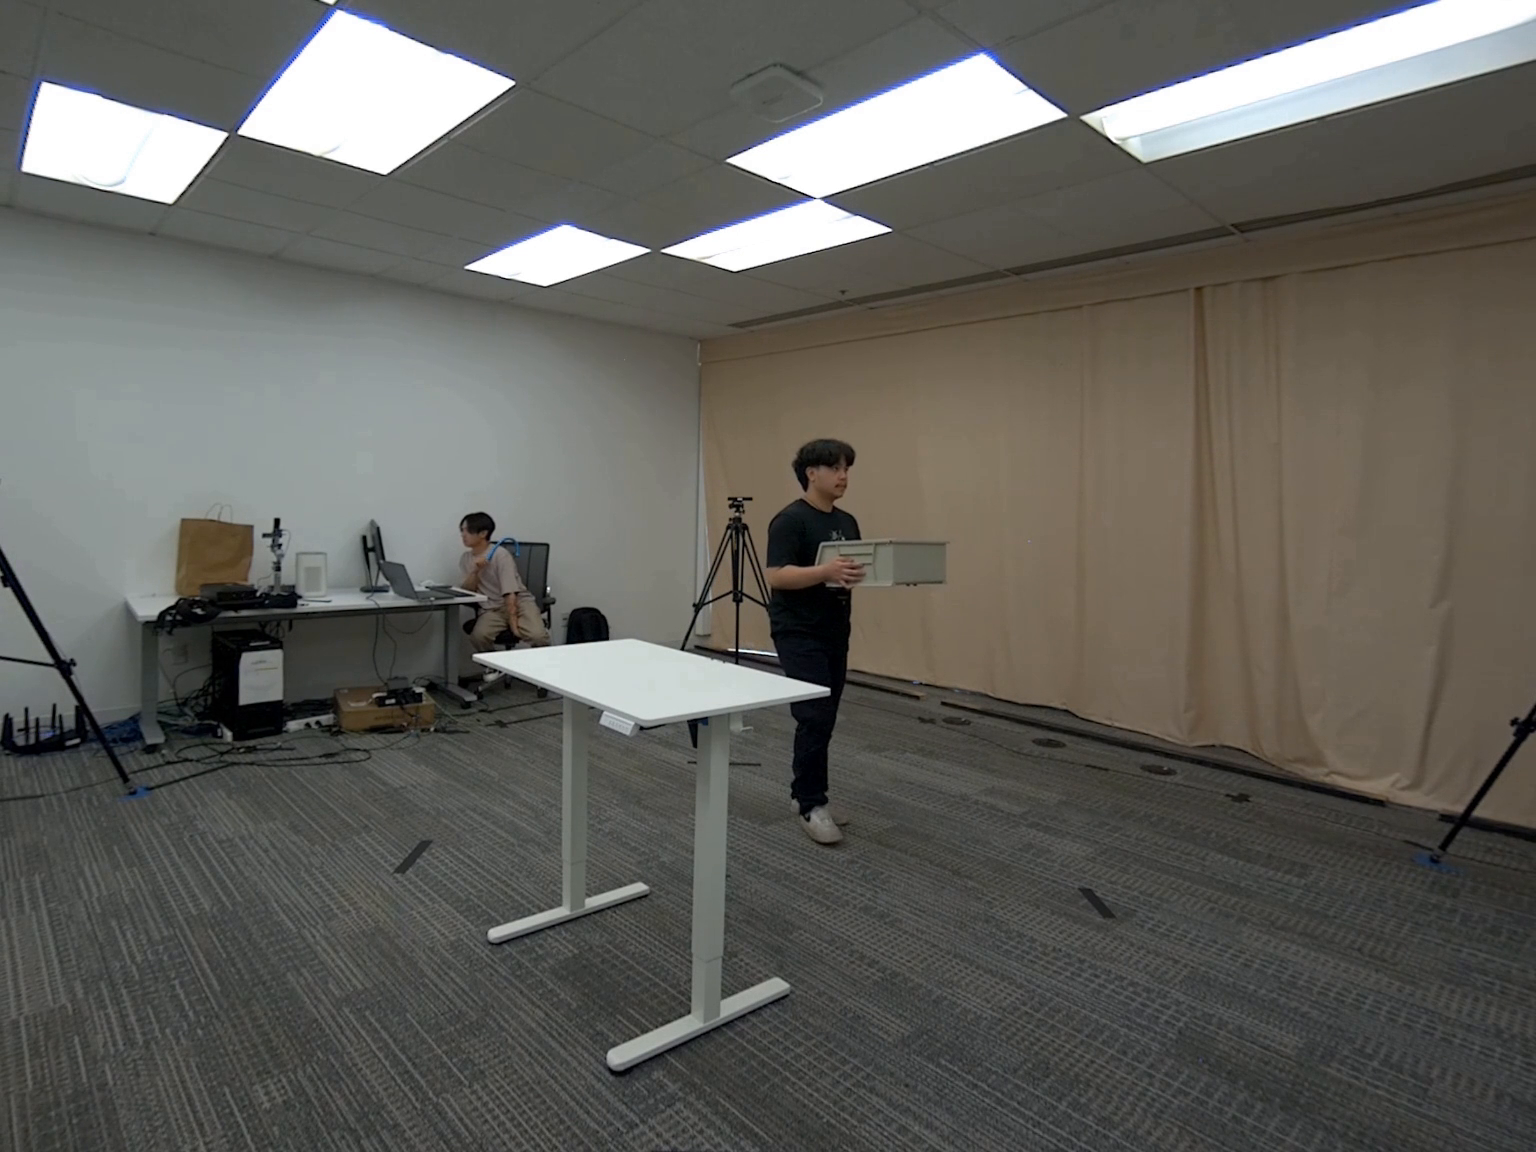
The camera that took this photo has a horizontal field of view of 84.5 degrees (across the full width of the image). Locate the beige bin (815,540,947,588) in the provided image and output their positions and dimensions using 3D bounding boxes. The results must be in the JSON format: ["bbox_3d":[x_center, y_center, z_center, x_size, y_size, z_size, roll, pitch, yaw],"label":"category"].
[{"bbox_3d":[0.455,-0.055,3.439,0.386,0.189,0.412,1,2,44],"label":"beige bin"}]
